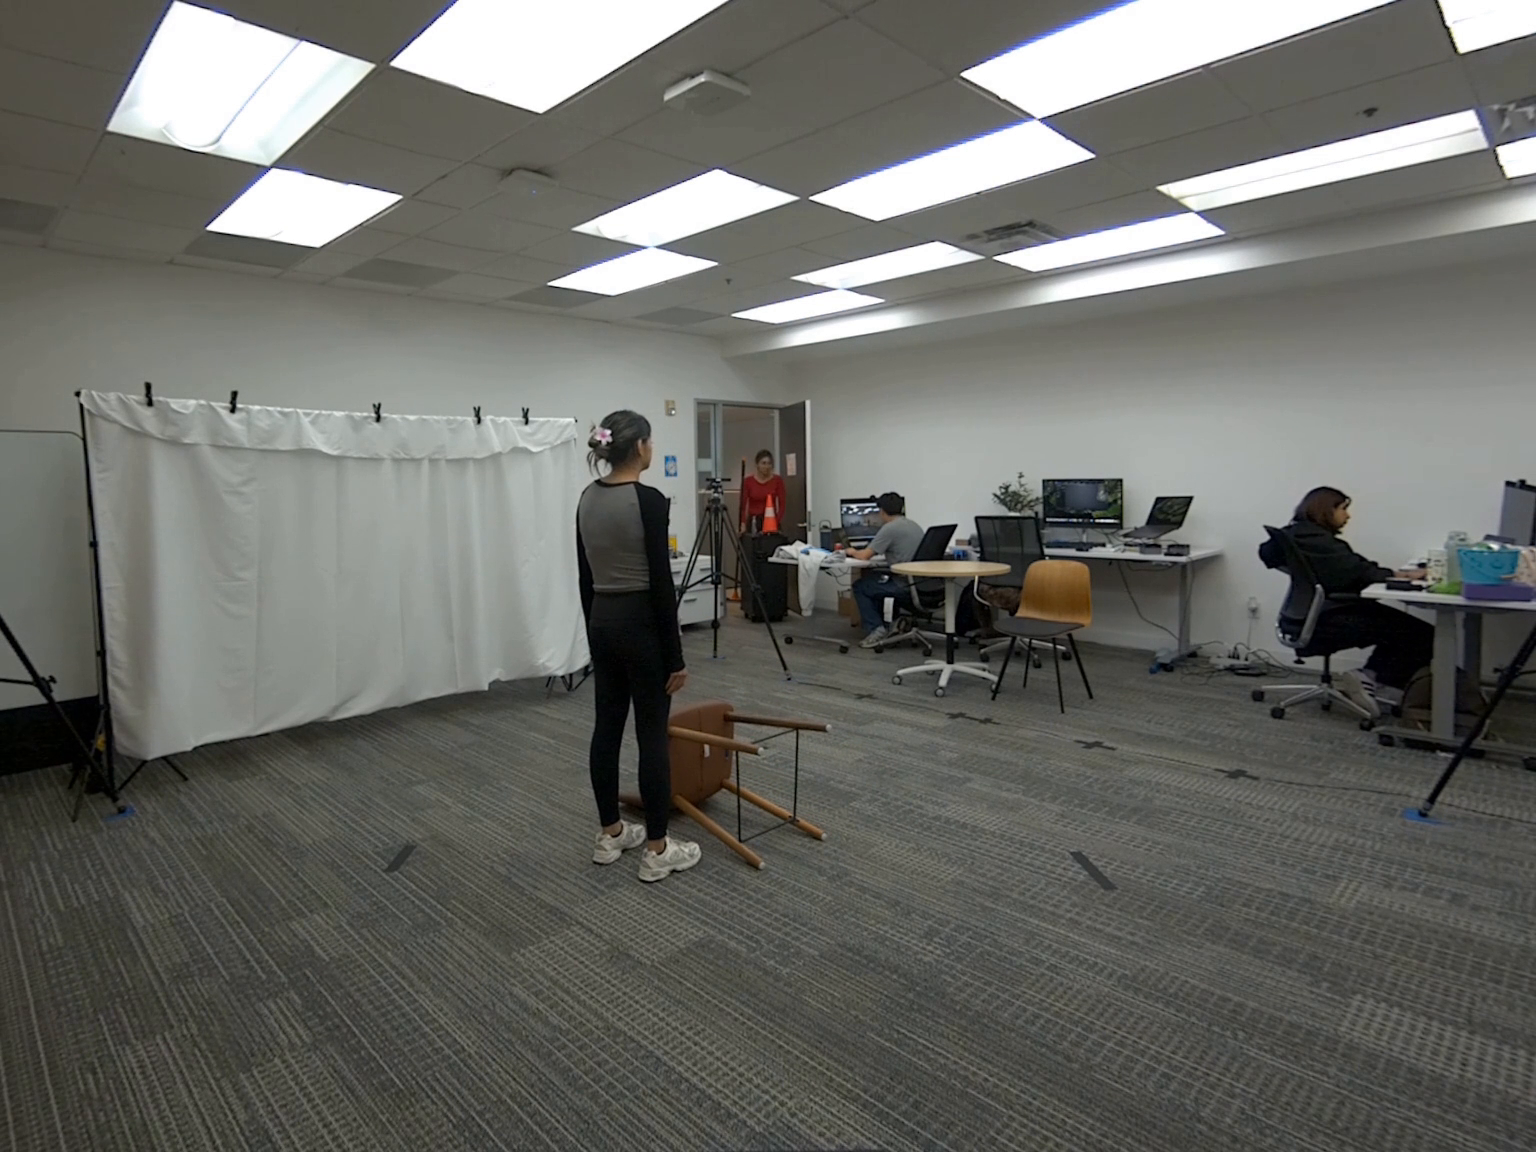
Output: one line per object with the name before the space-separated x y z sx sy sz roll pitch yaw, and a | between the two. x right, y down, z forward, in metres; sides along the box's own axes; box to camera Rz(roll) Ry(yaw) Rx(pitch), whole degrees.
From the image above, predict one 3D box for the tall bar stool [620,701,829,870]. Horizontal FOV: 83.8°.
tall bar stool | -0.217 0.775 3.464 0.917 0.466 0.444 4 7 45
